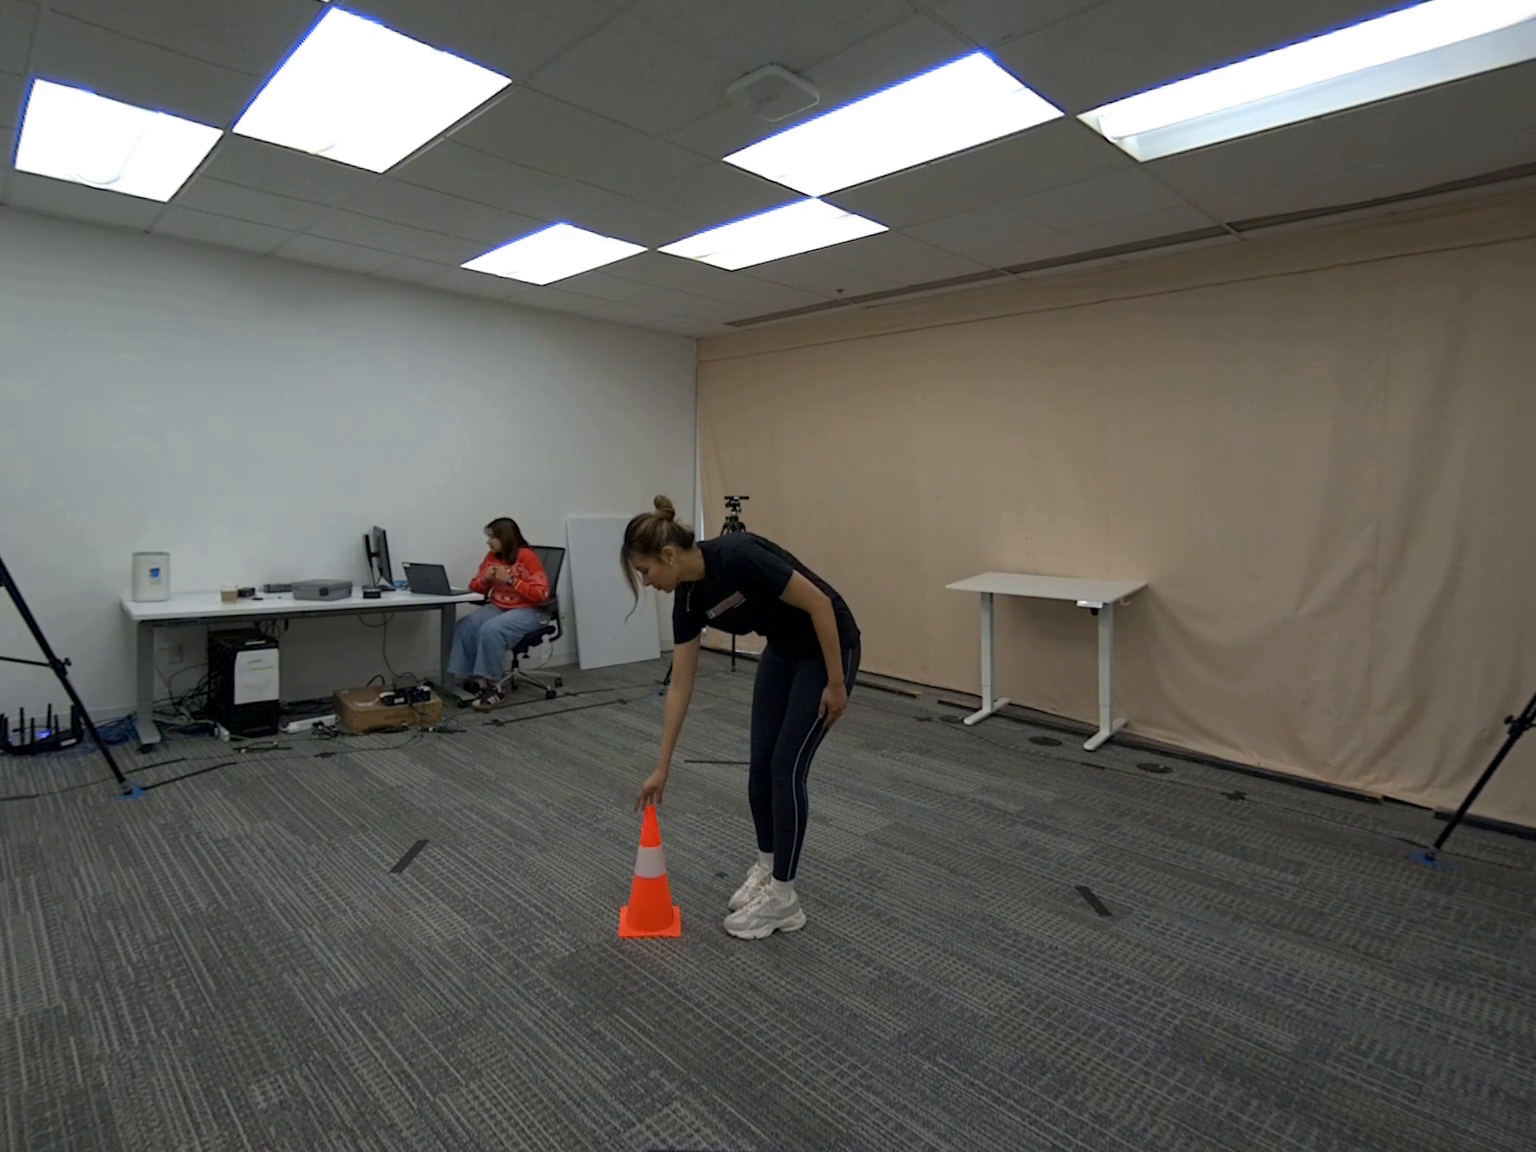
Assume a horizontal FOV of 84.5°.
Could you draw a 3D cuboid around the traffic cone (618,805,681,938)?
[{"bbox_3d":[-0.386,0.944,2.744,0.203,0.383,0.206,1,2,-4],"label":"traffic cone"}]
